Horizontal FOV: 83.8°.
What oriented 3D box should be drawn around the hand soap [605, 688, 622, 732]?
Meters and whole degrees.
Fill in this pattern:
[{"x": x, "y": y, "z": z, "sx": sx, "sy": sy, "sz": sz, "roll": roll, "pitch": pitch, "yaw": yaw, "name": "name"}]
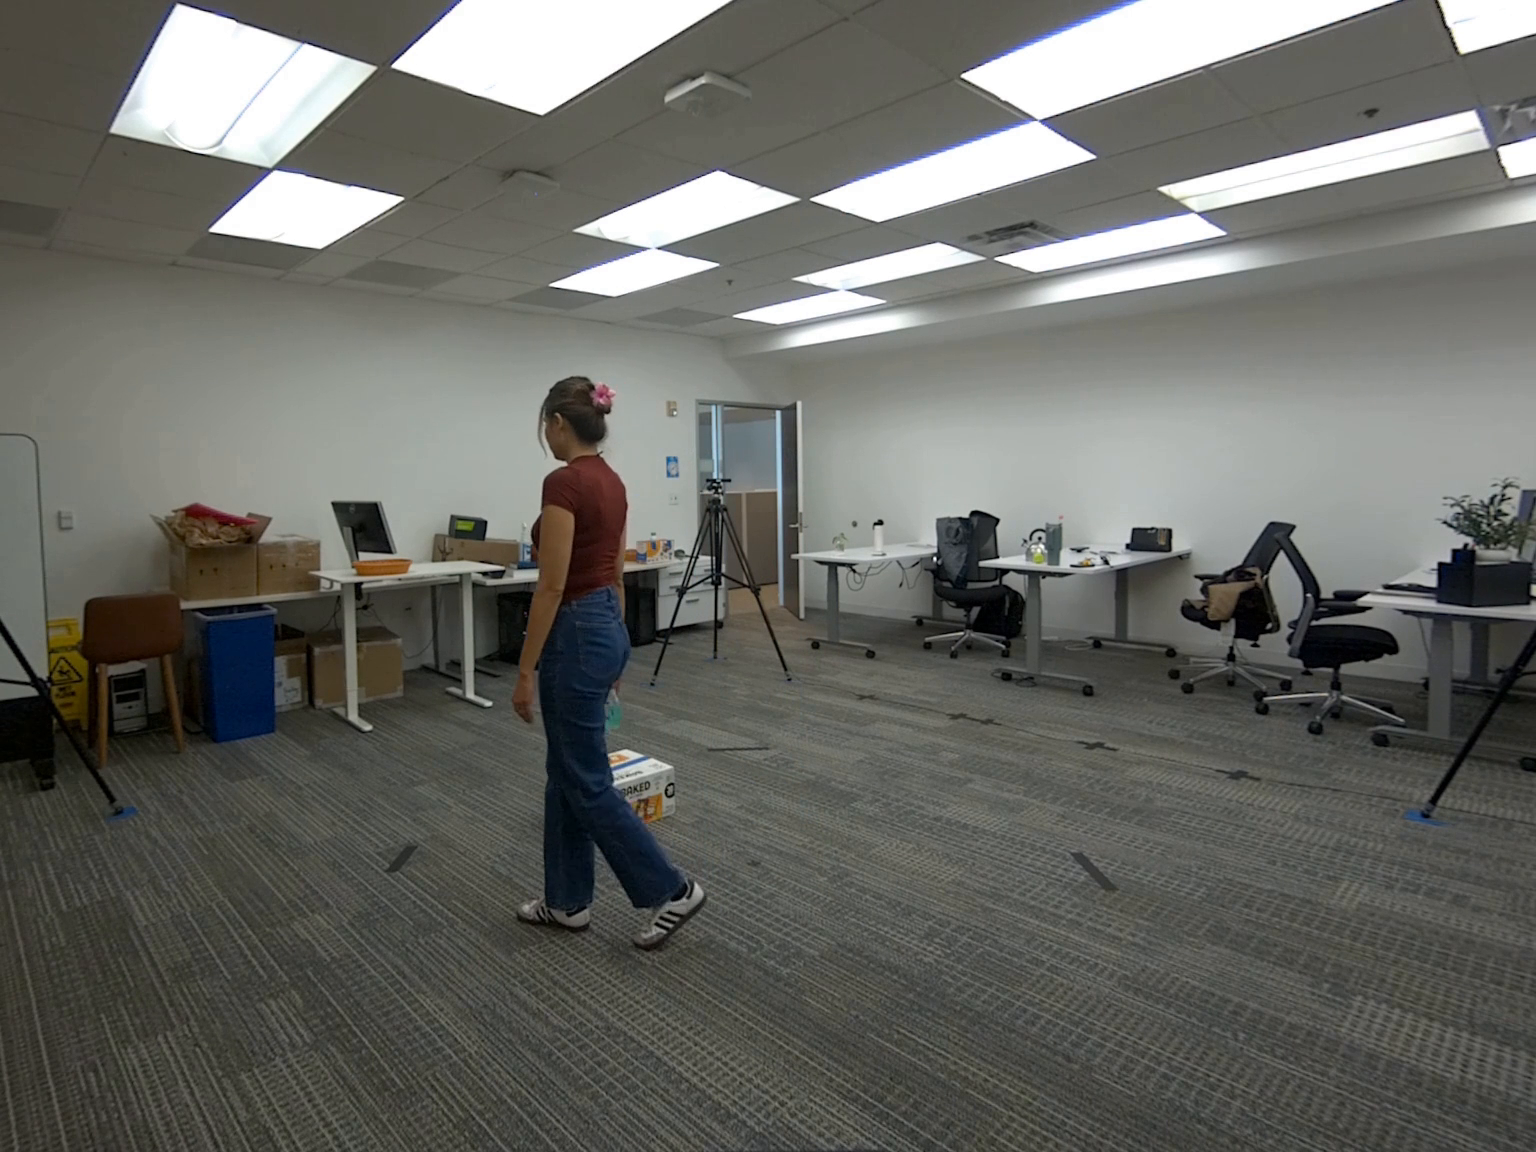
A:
[{"x": -0.530, "y": 0.429, "z": 2.912, "sx": 0.087, "sy": 0.167, "sz": 0.042, "roll": 1, "pitch": 8, "yaw": 44, "name": "hand soap"}]
